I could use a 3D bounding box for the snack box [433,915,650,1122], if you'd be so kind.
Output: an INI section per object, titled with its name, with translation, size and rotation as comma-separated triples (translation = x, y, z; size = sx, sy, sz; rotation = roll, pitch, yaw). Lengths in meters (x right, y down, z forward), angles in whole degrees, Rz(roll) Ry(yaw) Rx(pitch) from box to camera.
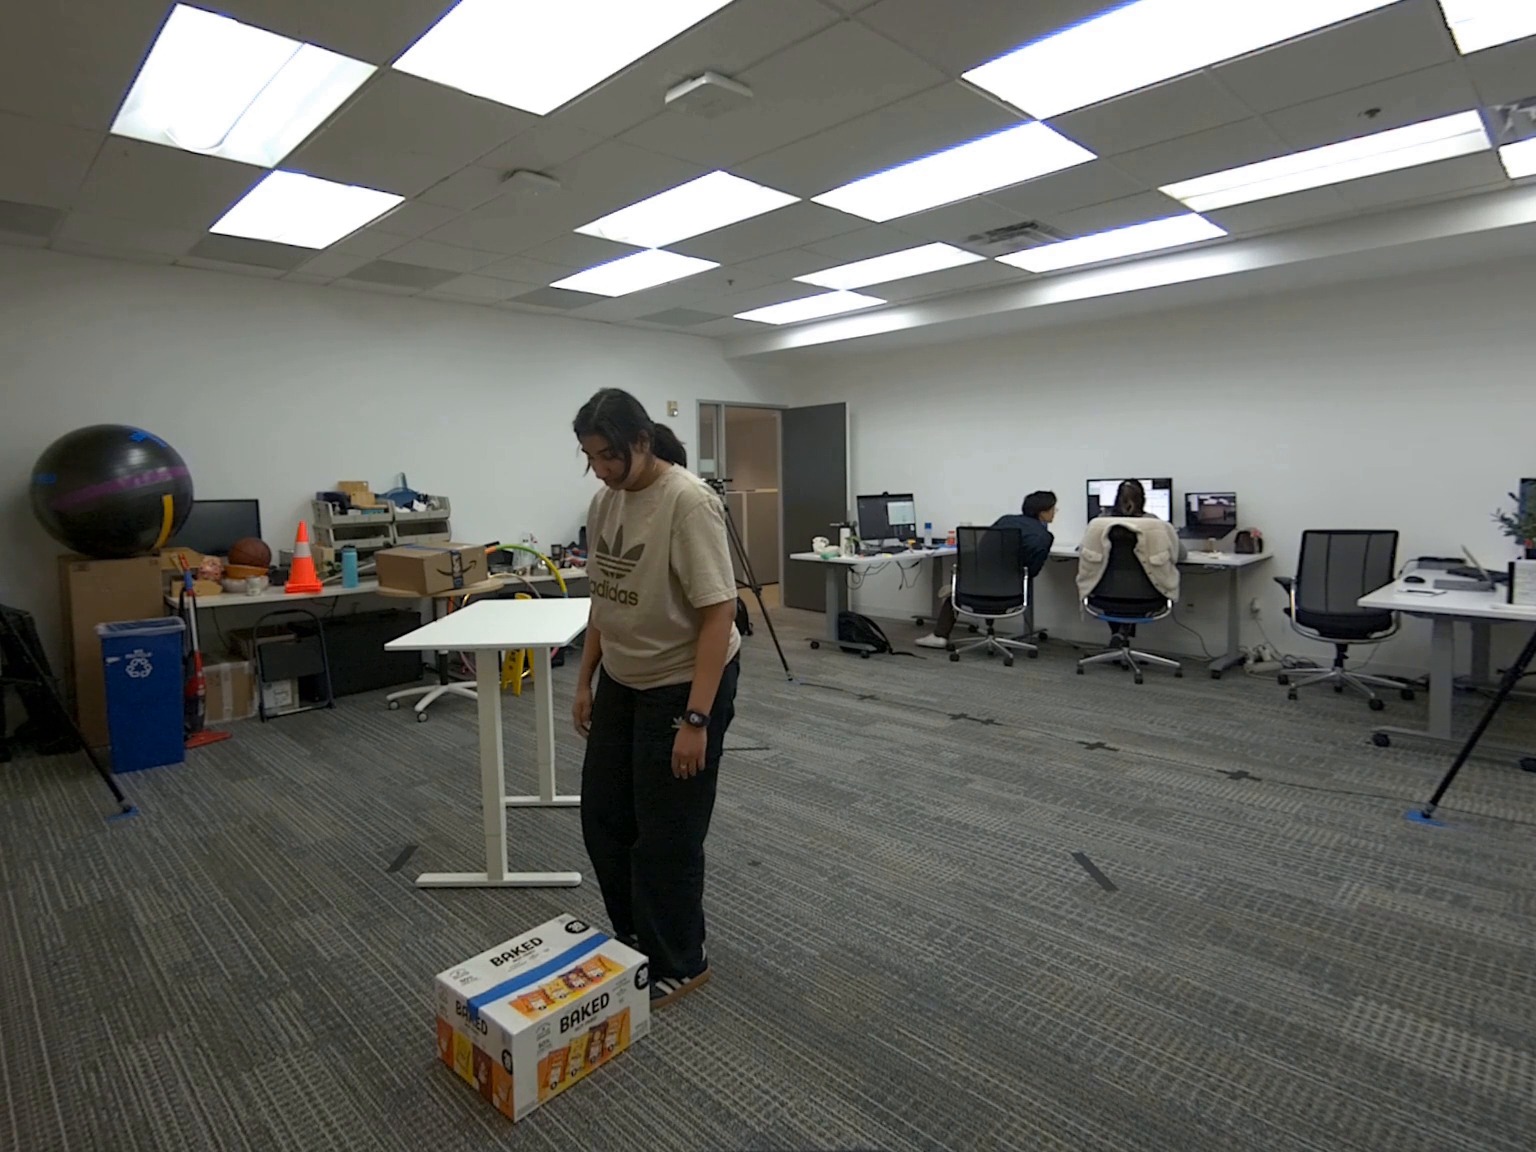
[snack box]
translation = -0.551, 1.072, 2.121
size = 0.351, 0.205, 0.395
rotation = 4, 8, 41
